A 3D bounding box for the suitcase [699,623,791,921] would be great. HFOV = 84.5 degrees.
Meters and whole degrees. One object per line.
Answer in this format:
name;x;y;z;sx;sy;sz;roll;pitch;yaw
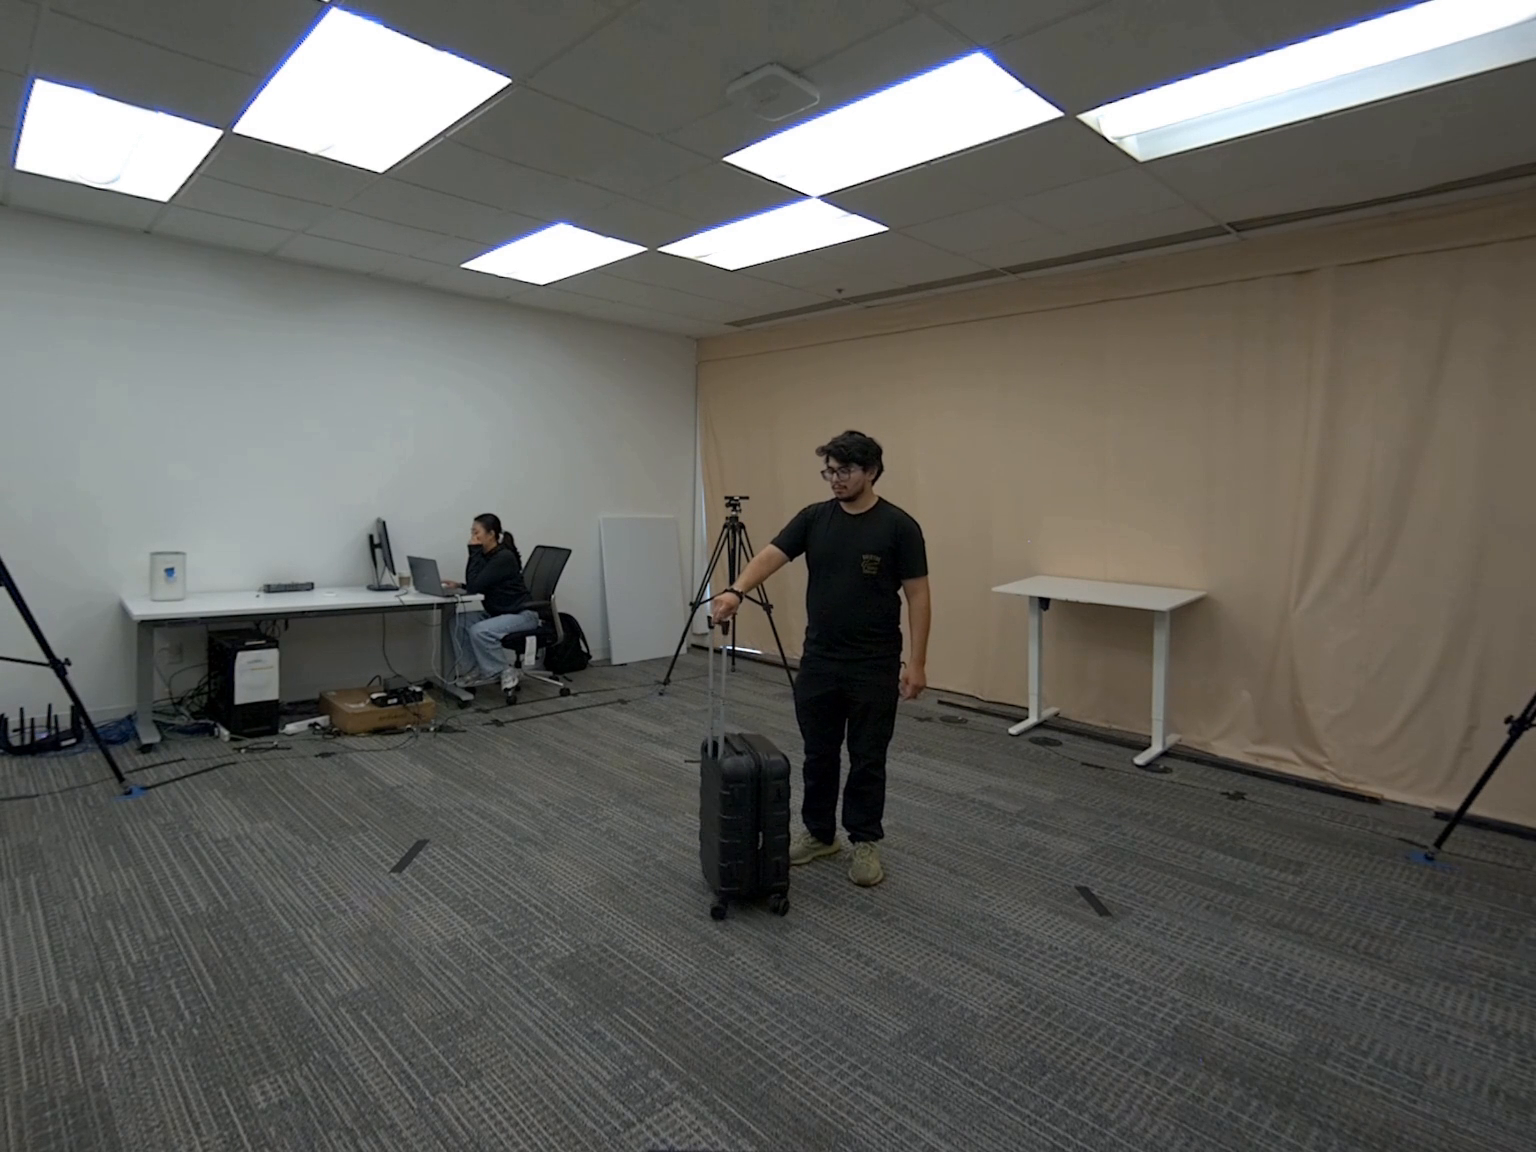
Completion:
suitcase;-0.085;0.644;2.928;0.254;0.976;0.389;2;3;-13
